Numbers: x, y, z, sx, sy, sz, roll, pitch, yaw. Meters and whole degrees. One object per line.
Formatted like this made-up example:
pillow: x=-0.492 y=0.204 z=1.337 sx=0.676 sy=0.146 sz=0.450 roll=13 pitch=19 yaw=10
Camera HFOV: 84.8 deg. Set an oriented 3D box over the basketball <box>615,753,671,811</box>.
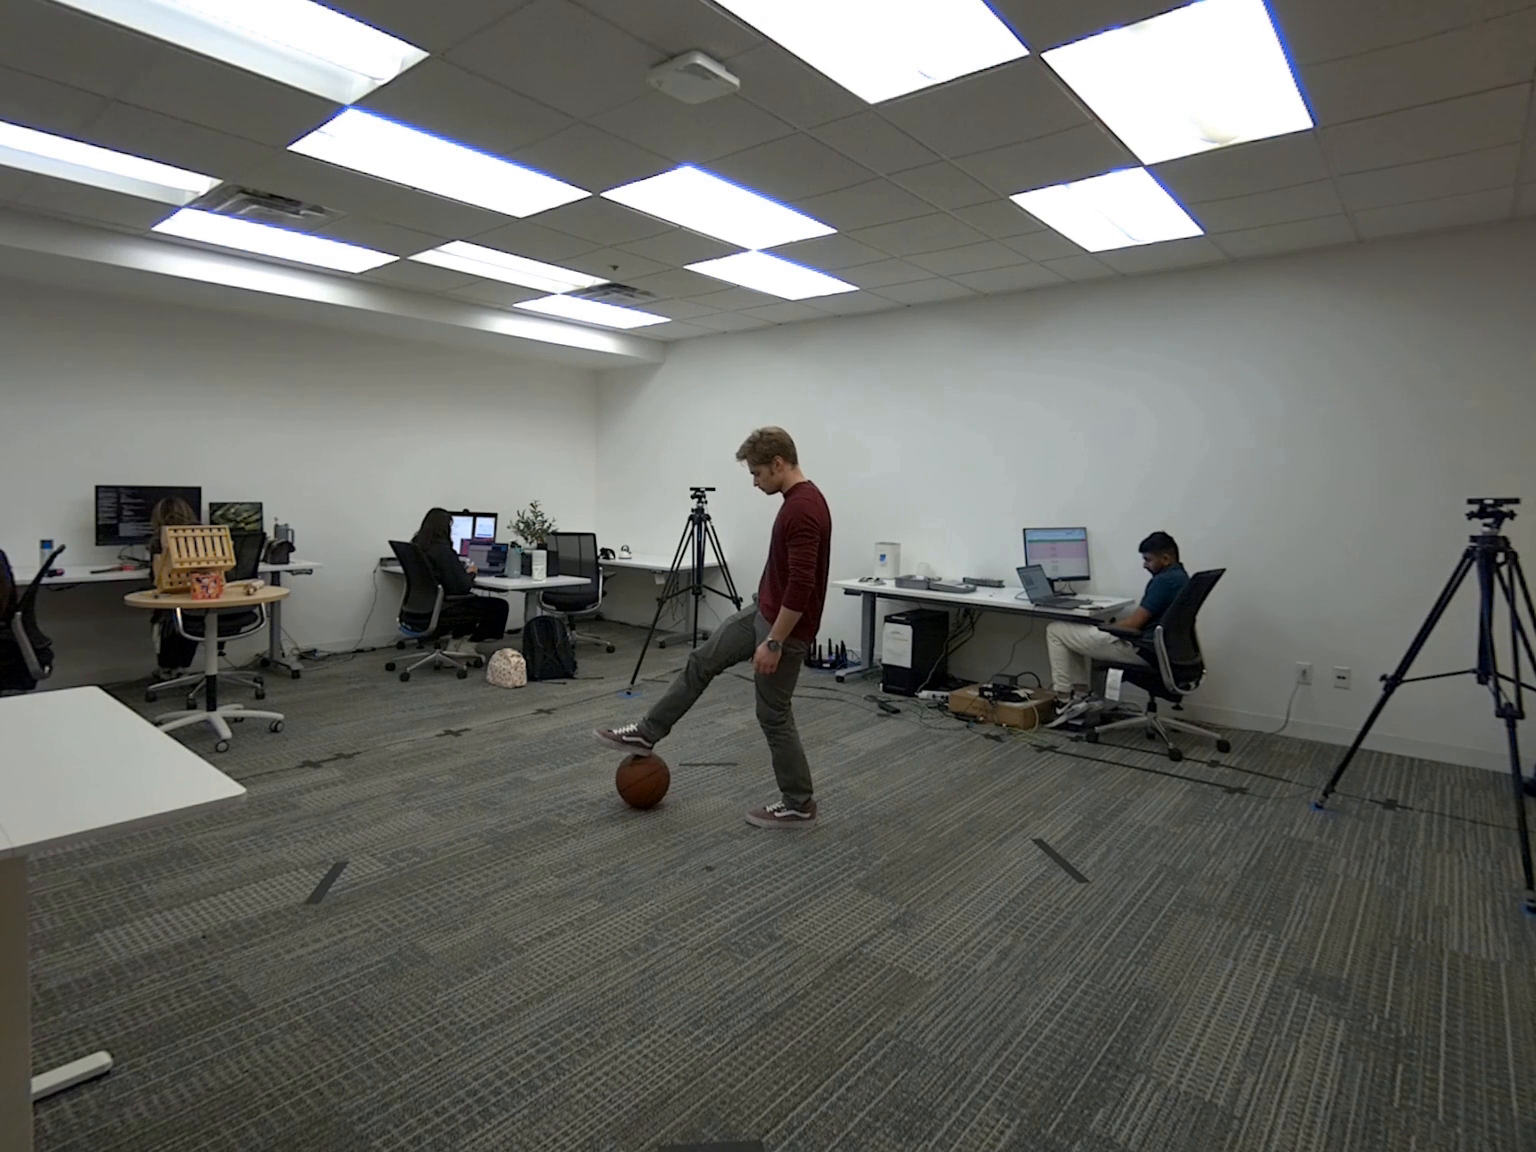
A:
basketball: x=-0.555 y=0.886 z=3.720 sx=0.235 sy=0.235 sz=0.237 roll=1 pitch=4 yaw=-2
